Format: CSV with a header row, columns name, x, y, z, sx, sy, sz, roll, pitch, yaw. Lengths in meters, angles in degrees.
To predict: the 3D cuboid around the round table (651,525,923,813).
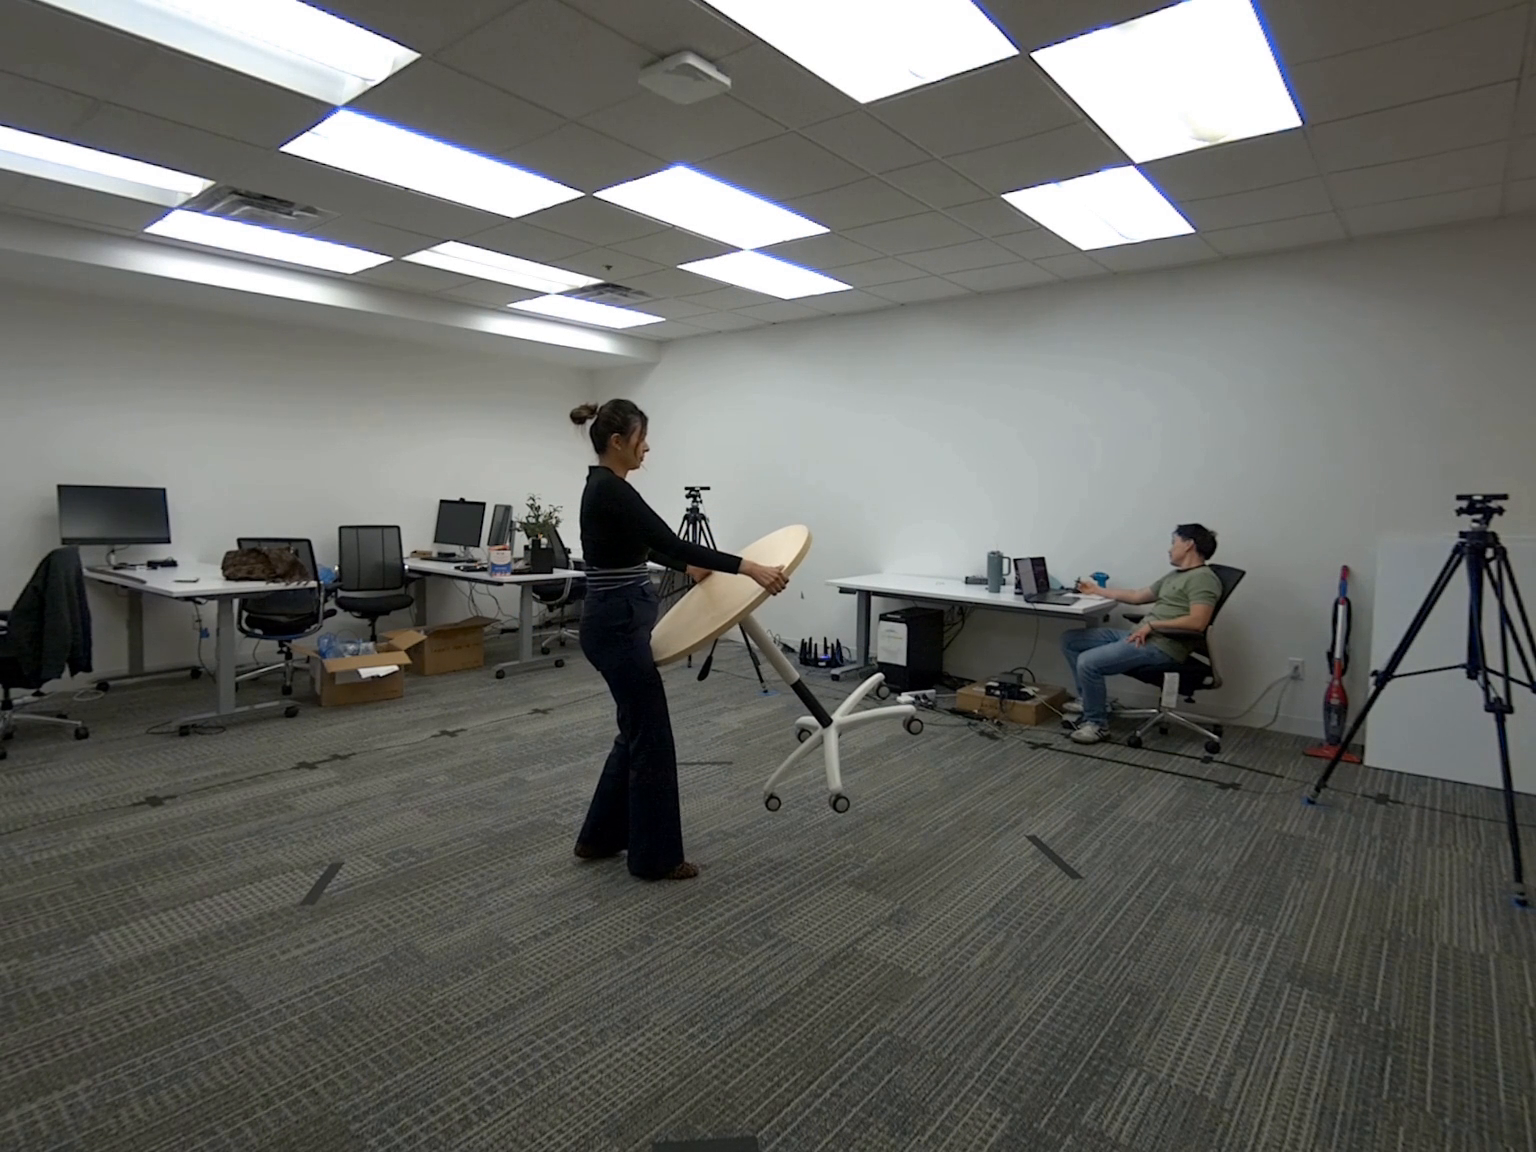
name,x,y,z,sx,sy,sz,roll,pitch,yaw
round table,0.065,0.363,3.180,0.765,0.781,0.775,-36,13,7
